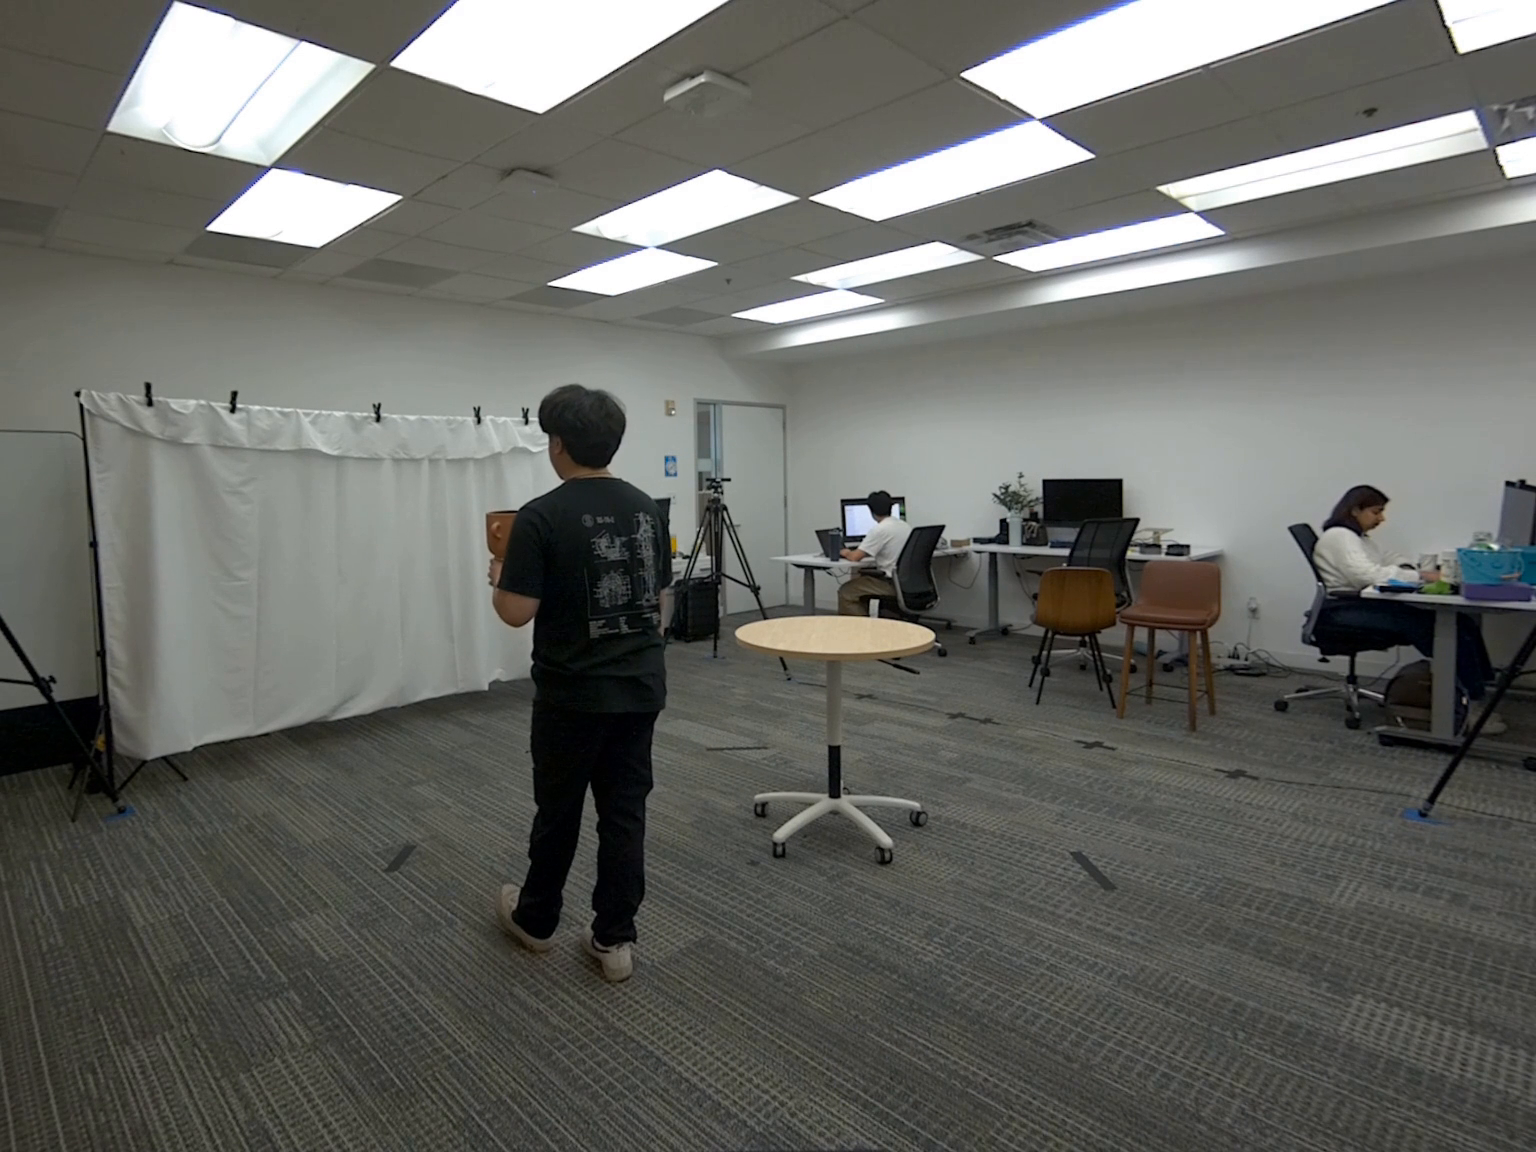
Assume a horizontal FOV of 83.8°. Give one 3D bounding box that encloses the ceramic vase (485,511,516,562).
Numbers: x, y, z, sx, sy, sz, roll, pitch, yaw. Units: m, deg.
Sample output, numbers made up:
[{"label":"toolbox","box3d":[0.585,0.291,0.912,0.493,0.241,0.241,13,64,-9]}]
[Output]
[{"label":"ceramic vase","box3d":[-0.782,-0.083,2.577,0.155,0.218,0.139,-5,7,-37]}]
